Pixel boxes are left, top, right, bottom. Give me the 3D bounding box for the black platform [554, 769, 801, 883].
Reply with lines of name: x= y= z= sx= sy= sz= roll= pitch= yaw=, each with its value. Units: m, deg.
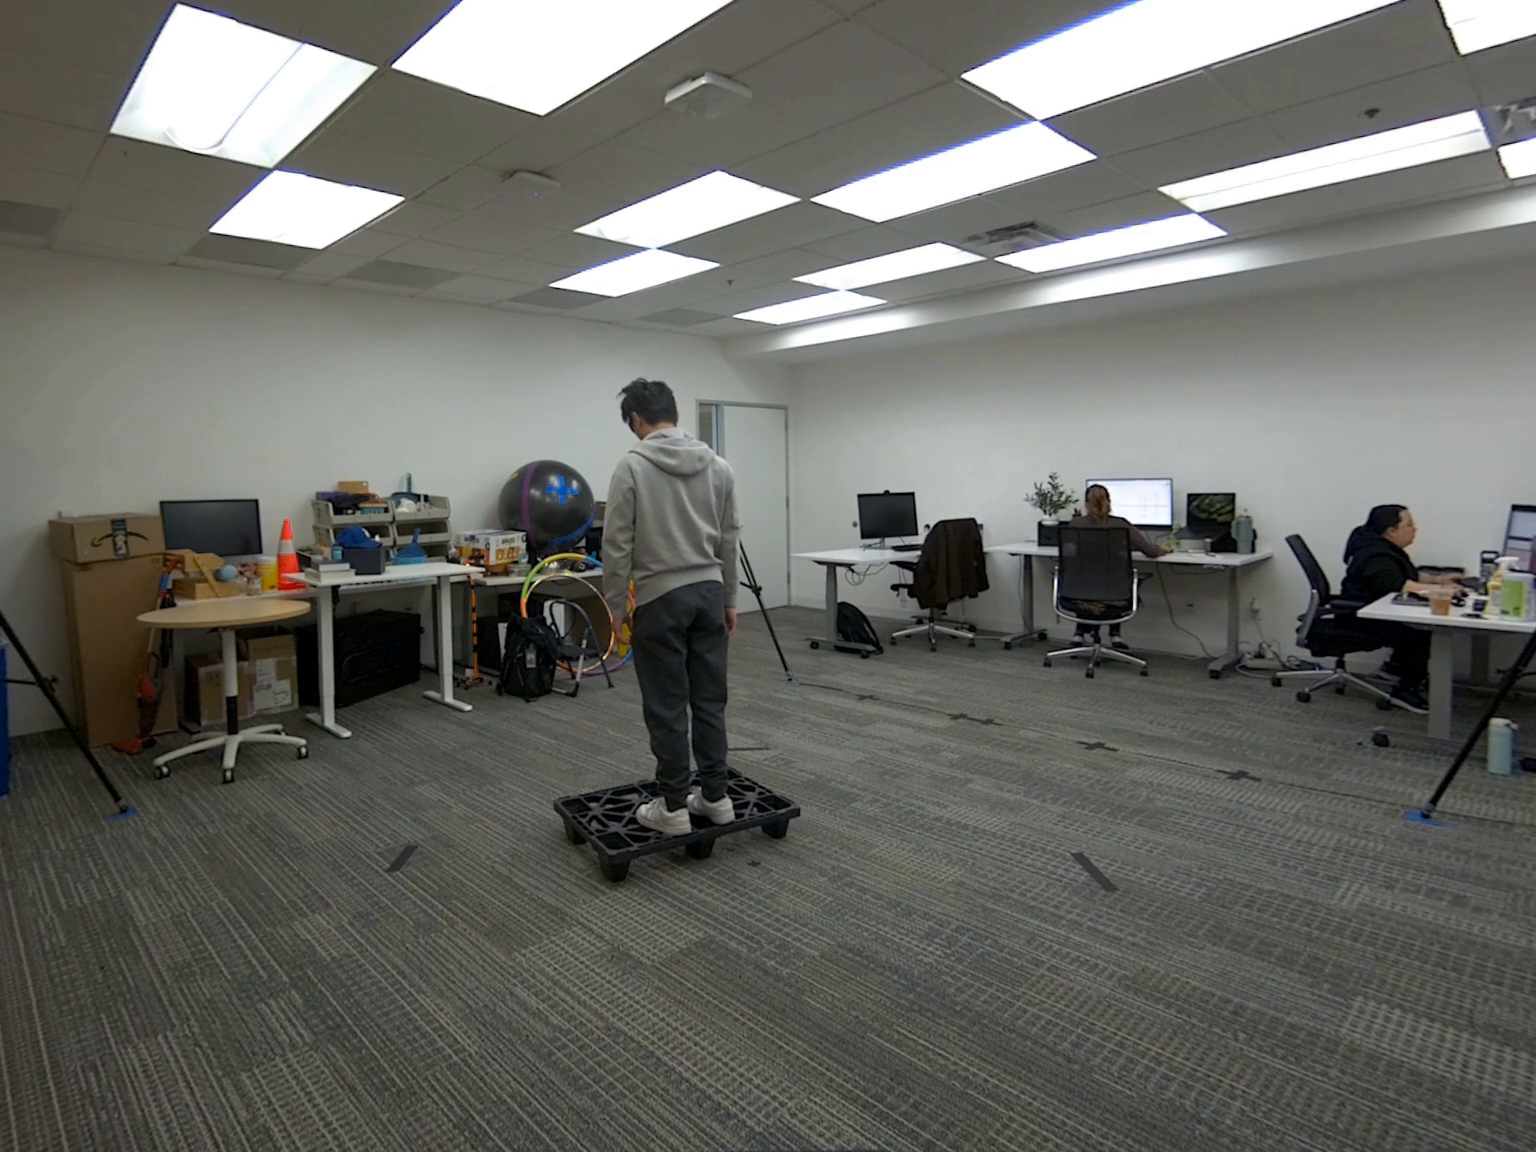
black platform: x=-0.355 y=0.957 z=3.349 sx=0.787 sy=0.142 sz=0.623 roll=-5 pitch=8 yaw=-31
